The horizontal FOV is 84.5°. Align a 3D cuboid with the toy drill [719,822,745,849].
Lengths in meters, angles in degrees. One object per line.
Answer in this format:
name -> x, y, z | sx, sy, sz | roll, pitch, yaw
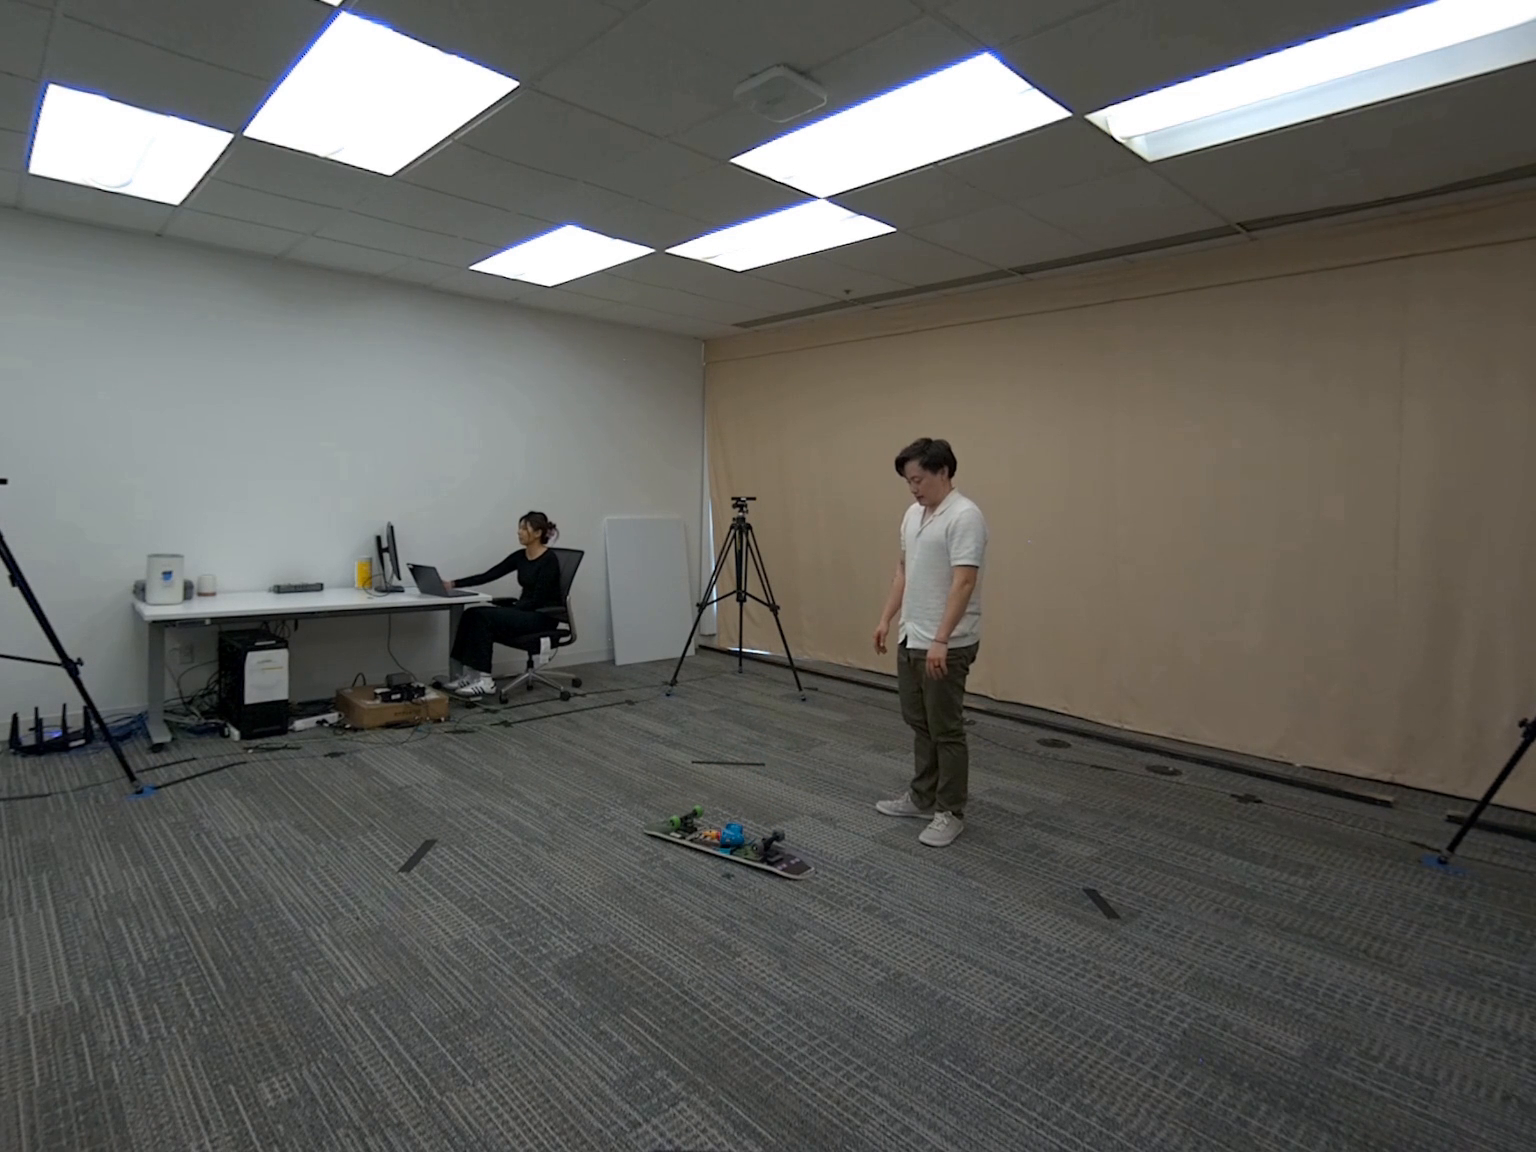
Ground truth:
toy drill -> -0.176, 1.024, 3.348 | 0.170, 0.061, 0.146 | 8, 4, 3
